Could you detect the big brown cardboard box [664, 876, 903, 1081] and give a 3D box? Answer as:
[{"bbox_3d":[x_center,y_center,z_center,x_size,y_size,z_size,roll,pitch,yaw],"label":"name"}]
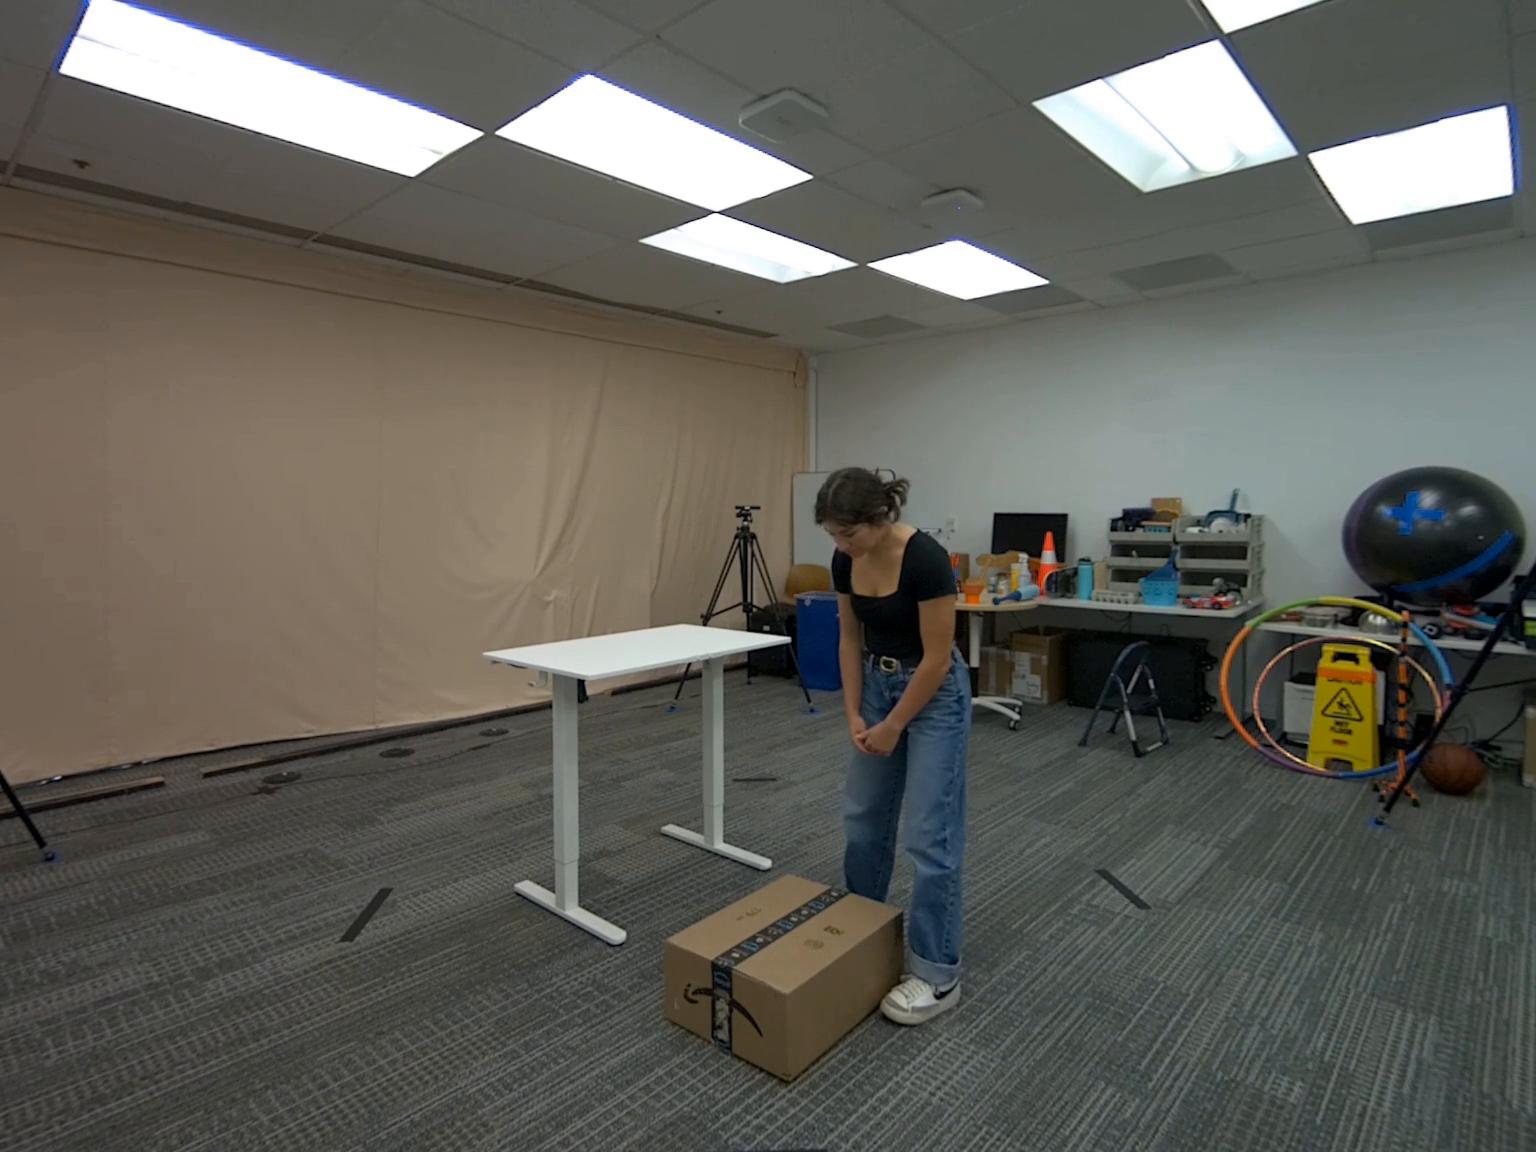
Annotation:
[{"bbox_3d":[0.055,1.087,2.350,0.431,0.232,0.571,2,5,40],"label":"big brown cardboard box"}]
